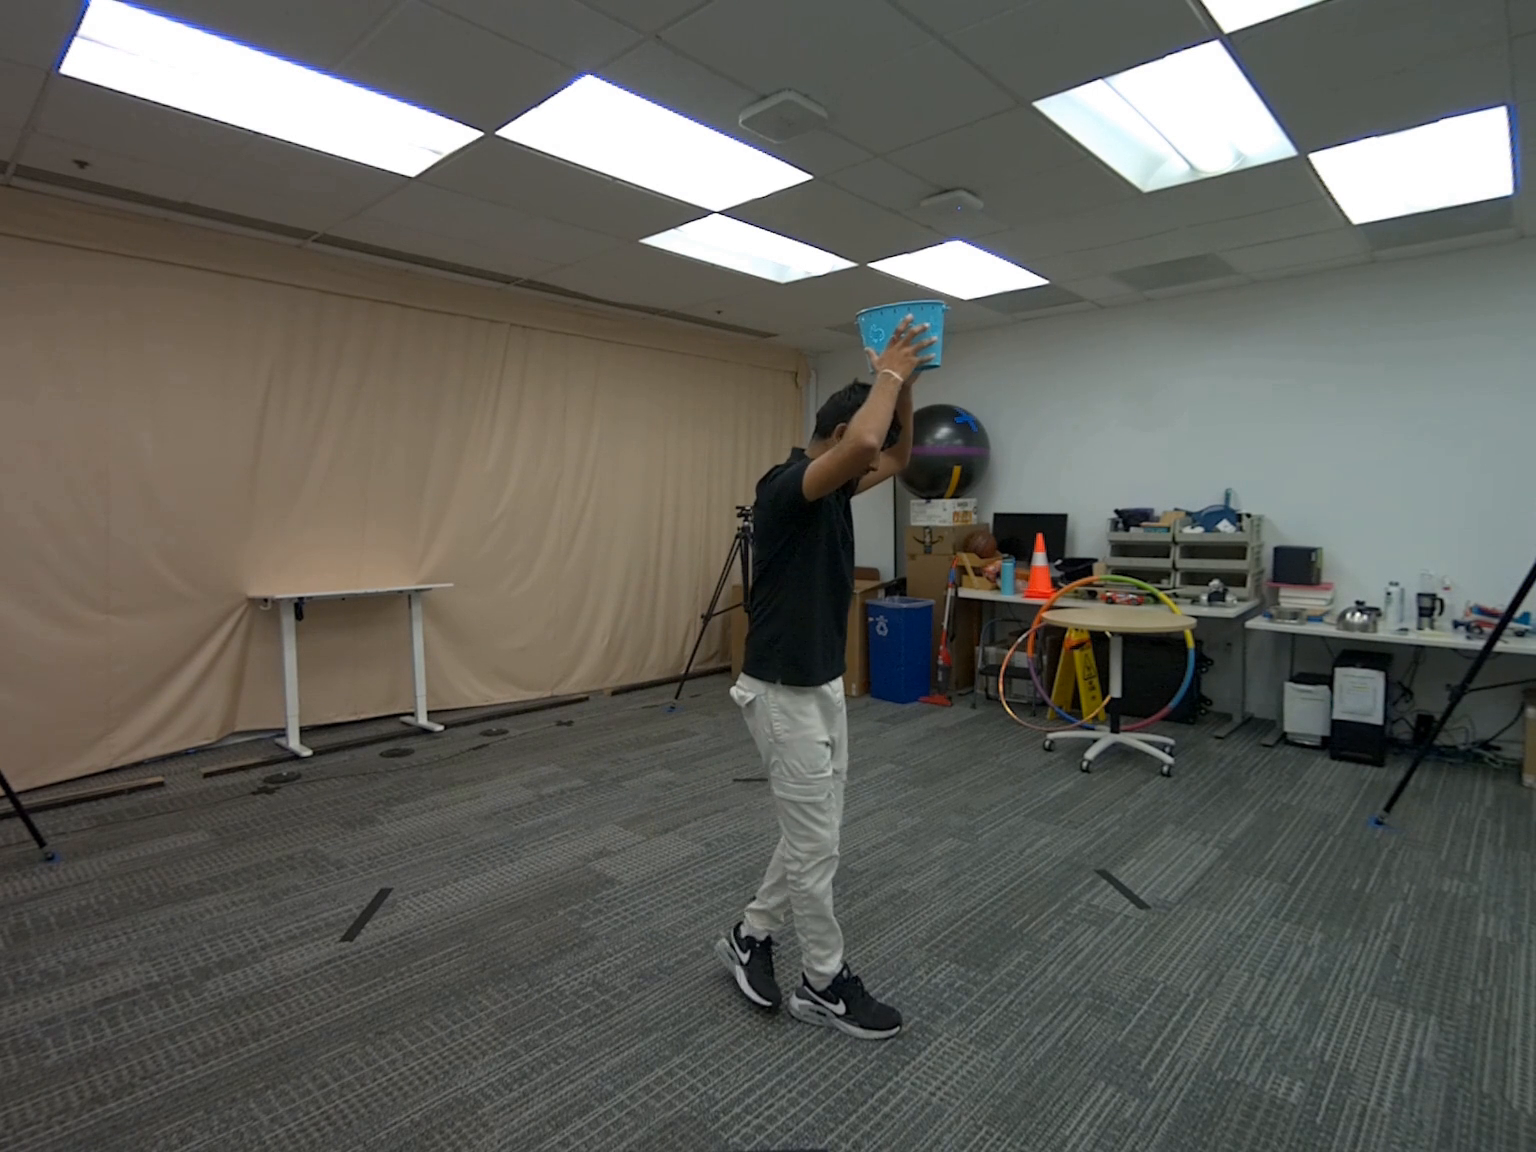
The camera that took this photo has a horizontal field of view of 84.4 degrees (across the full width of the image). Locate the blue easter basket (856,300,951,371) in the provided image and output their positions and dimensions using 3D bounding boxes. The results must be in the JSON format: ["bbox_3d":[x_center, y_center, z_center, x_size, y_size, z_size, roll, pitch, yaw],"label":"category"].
[{"bbox_3d":[0.362,-0.605,2.165,0.243,0.155,0.245,-4,6,-1],"label":"blue easter basket"}]
